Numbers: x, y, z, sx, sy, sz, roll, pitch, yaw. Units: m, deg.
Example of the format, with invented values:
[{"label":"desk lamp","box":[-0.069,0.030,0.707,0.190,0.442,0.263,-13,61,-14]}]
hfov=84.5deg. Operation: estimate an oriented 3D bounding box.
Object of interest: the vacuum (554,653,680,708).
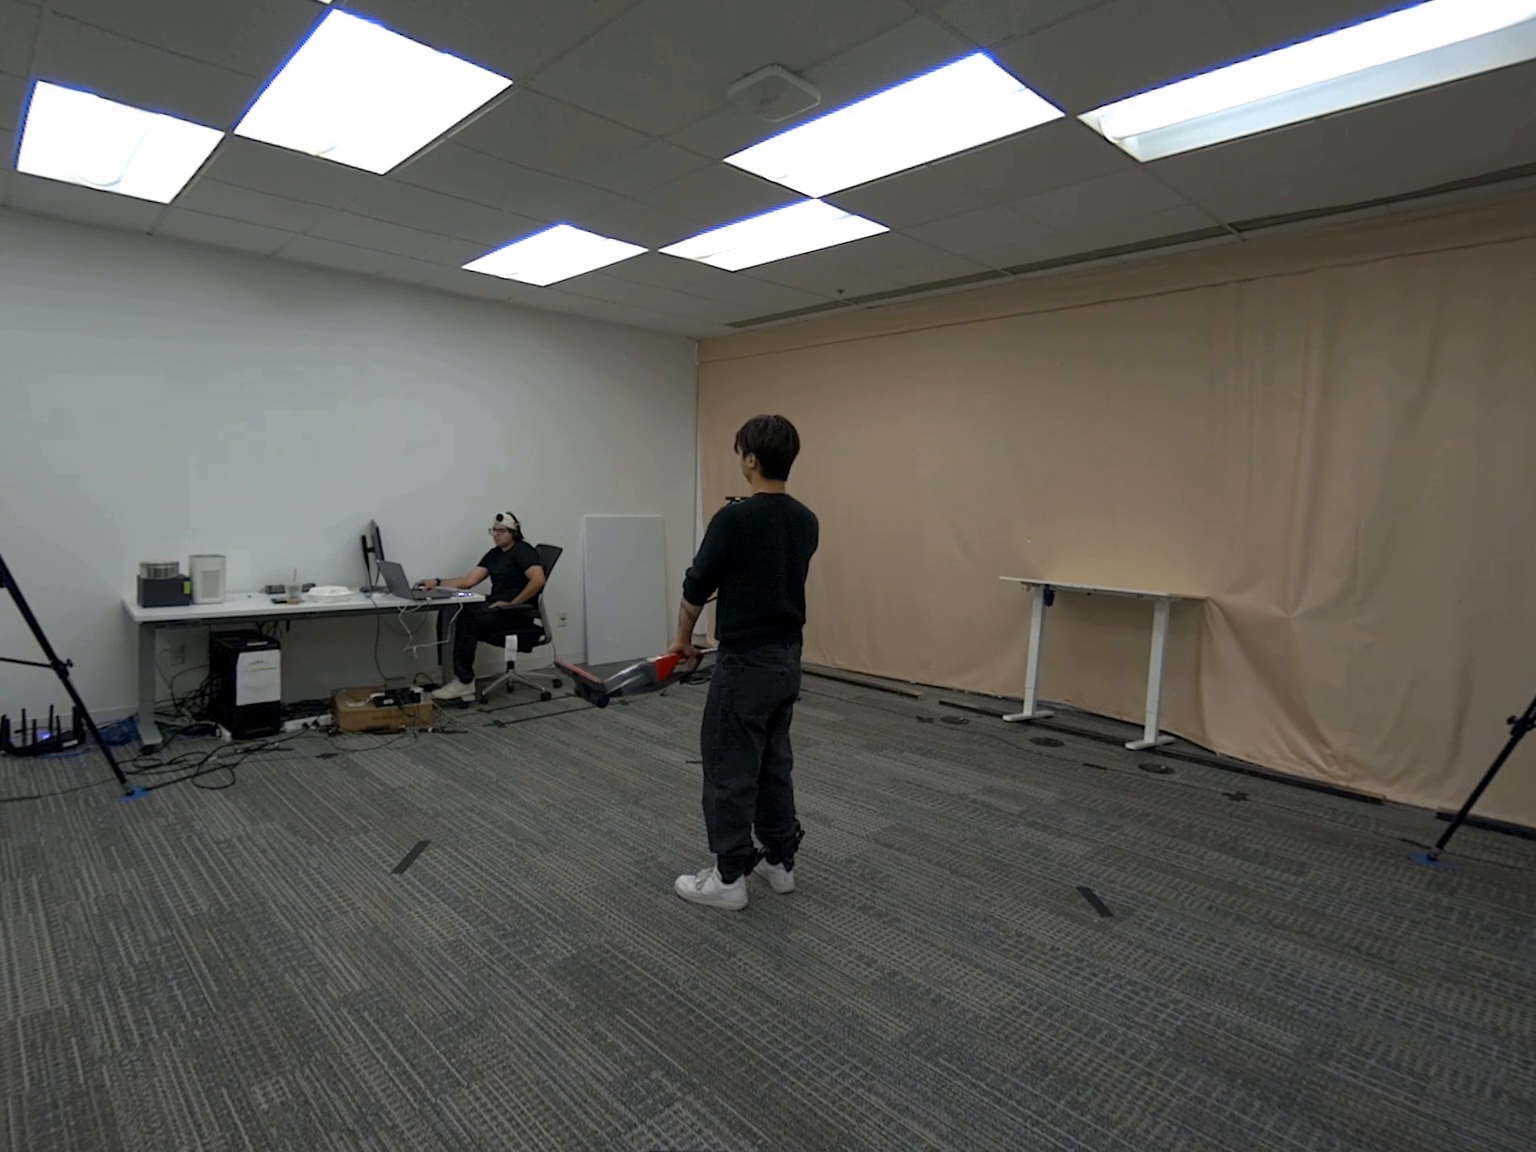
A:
[{"label":"vacuum","box":[-0.271,0.332,3.132,0.260,0.143,1.026,15,13,42]}]
